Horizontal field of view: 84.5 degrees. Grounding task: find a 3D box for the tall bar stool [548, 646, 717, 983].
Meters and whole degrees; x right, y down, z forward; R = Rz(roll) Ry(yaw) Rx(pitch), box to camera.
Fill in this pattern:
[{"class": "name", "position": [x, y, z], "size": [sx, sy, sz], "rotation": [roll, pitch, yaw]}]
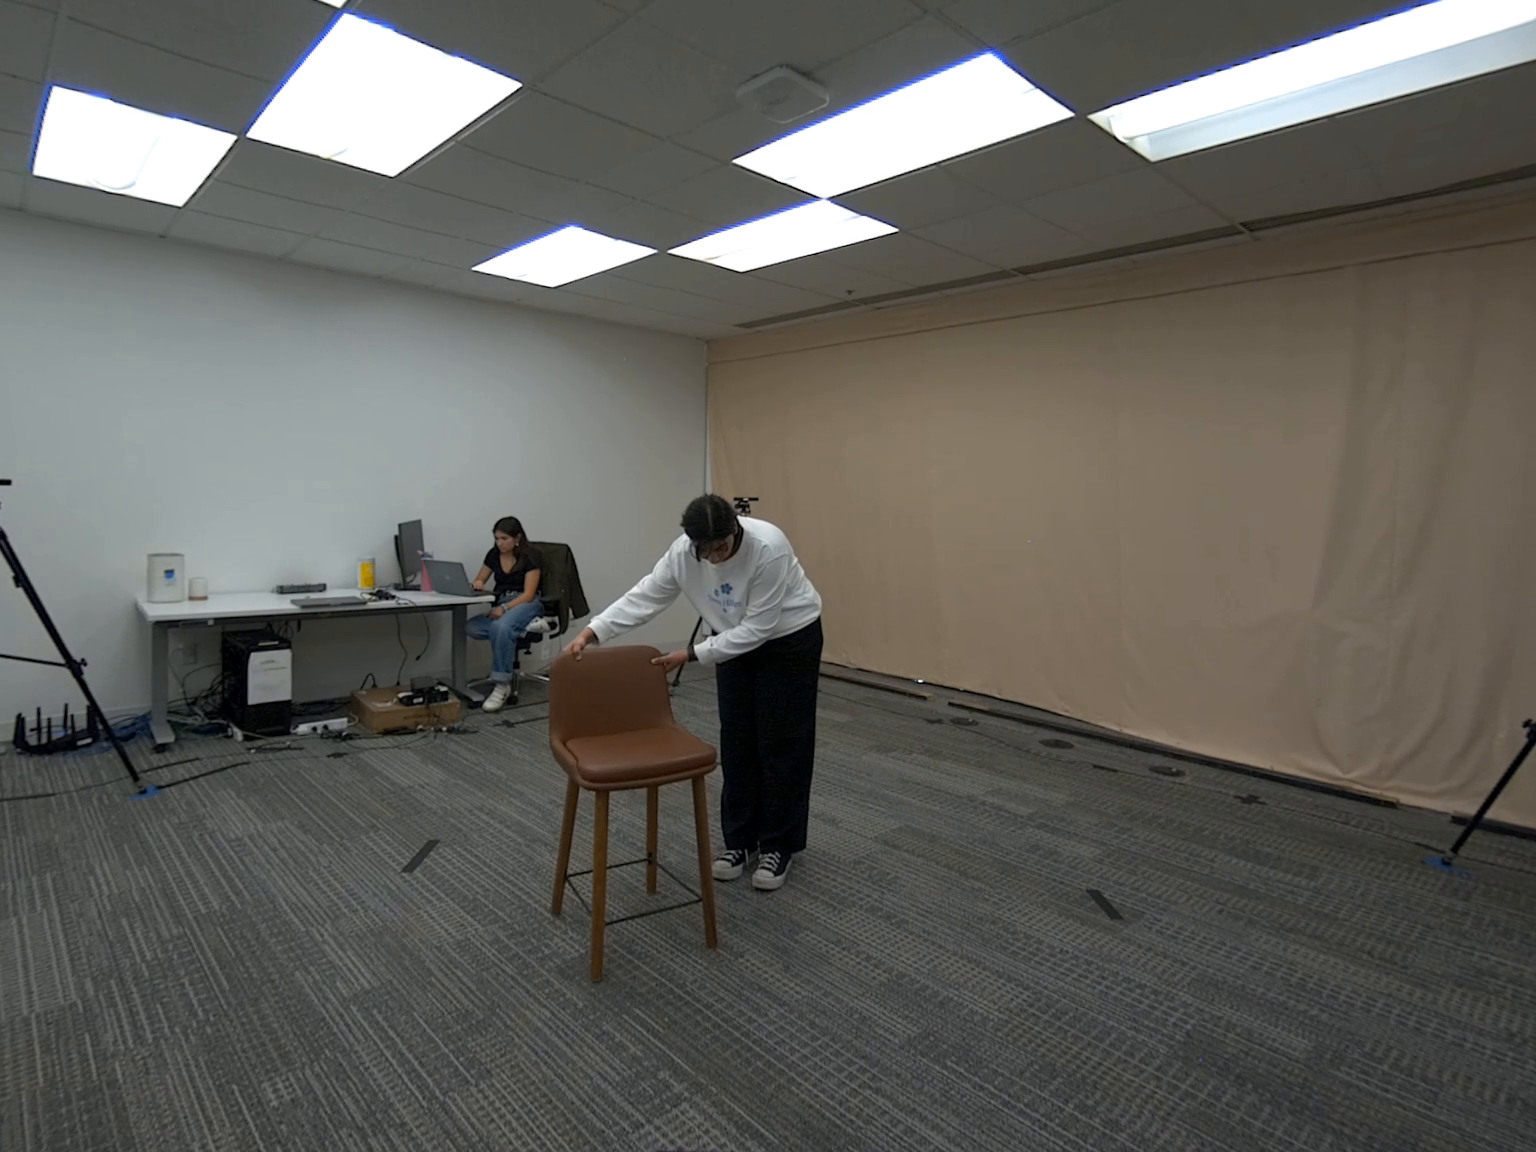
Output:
[{"class": "tall bar stool", "position": [-0.446, 0.704, 2.676], "size": [0.447, 0.889, 0.478], "rotation": [-1, 2, -31]}]
